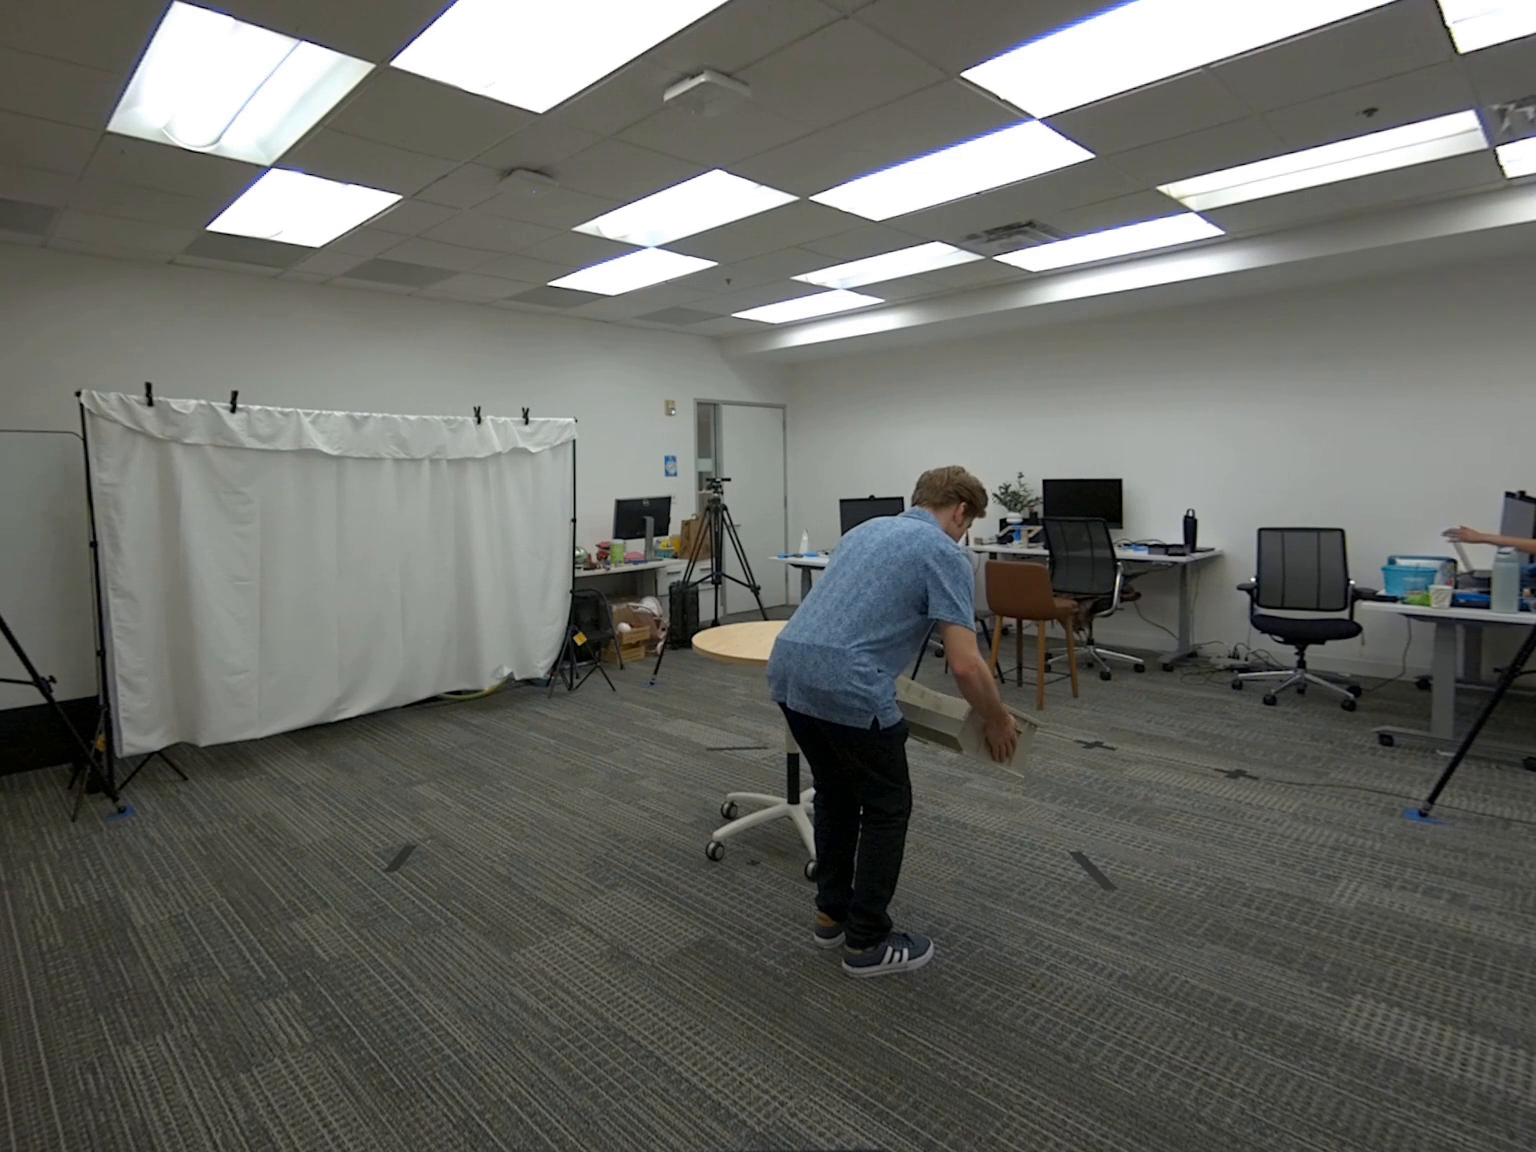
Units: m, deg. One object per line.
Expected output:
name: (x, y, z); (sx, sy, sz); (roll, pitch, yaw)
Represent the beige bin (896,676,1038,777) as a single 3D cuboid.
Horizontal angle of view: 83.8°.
beige bin: (0.549, 0.447, 2.665); (0.364, 0.190, 0.435); (27, -10, -34)
